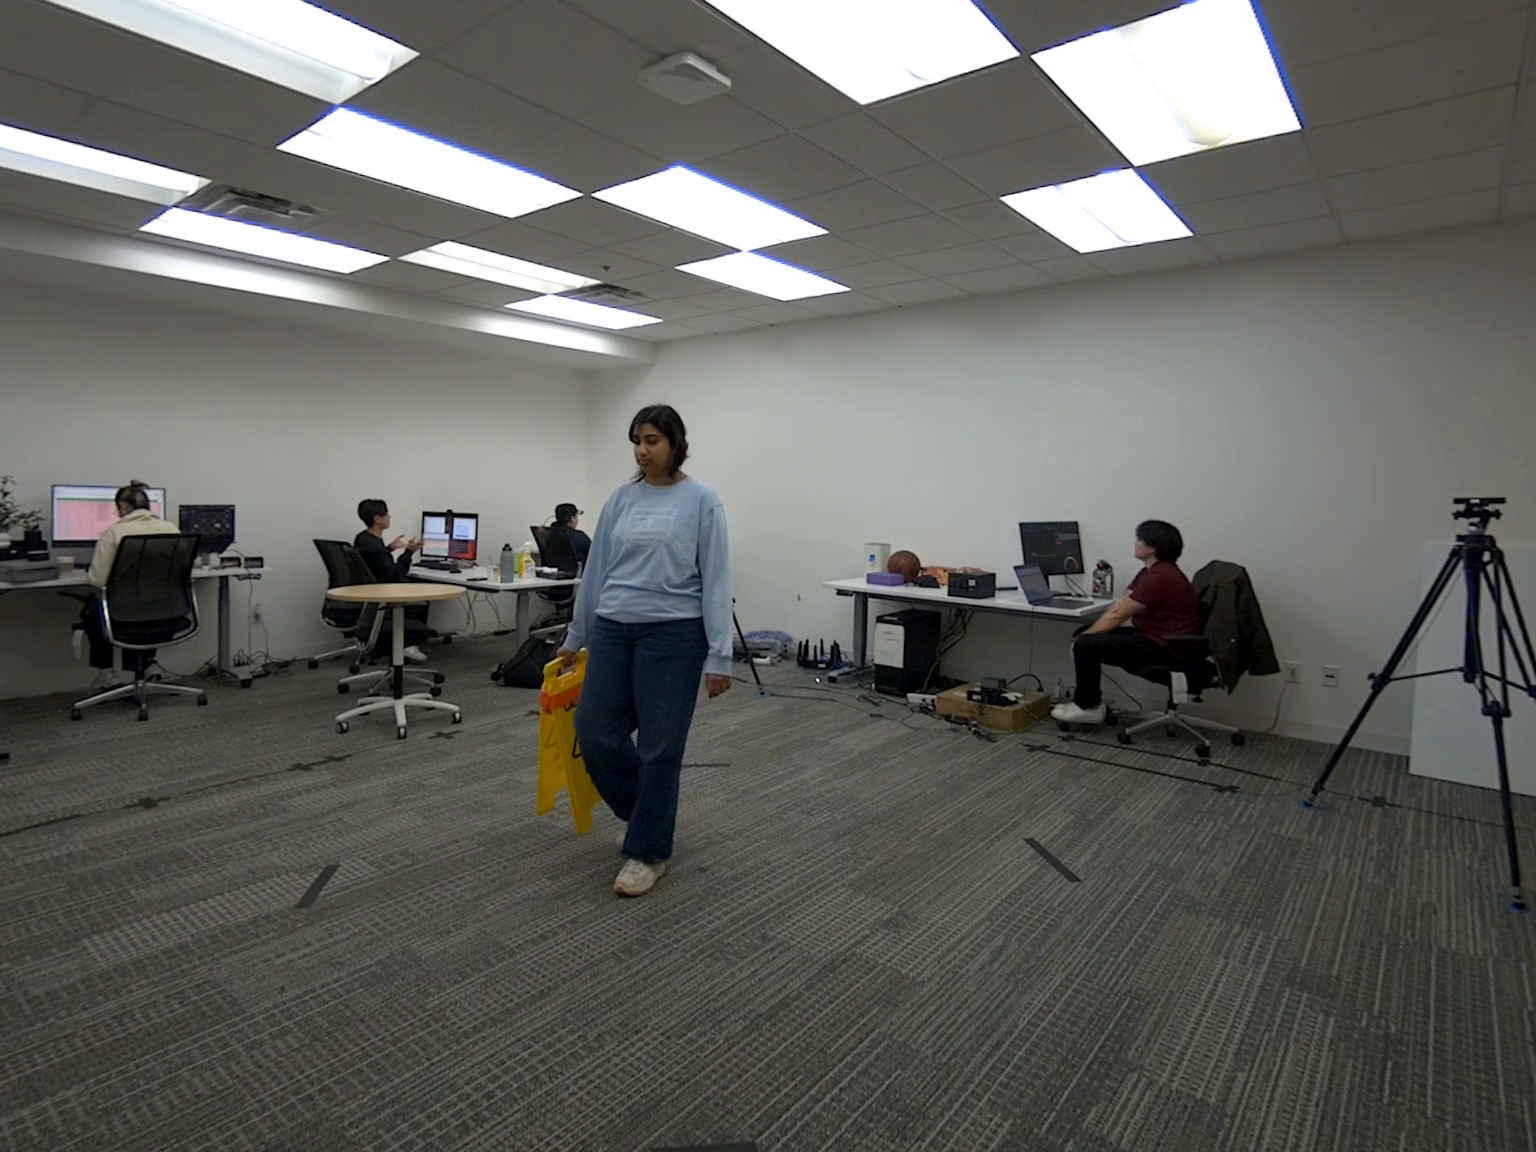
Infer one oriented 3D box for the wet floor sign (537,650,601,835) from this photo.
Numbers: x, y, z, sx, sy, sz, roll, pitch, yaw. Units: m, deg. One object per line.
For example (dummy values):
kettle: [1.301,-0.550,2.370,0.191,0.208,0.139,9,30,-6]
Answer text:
wet floor sign: [-0.755,0.608,3.274,0.300,0.637,0.277,8,18,37]
